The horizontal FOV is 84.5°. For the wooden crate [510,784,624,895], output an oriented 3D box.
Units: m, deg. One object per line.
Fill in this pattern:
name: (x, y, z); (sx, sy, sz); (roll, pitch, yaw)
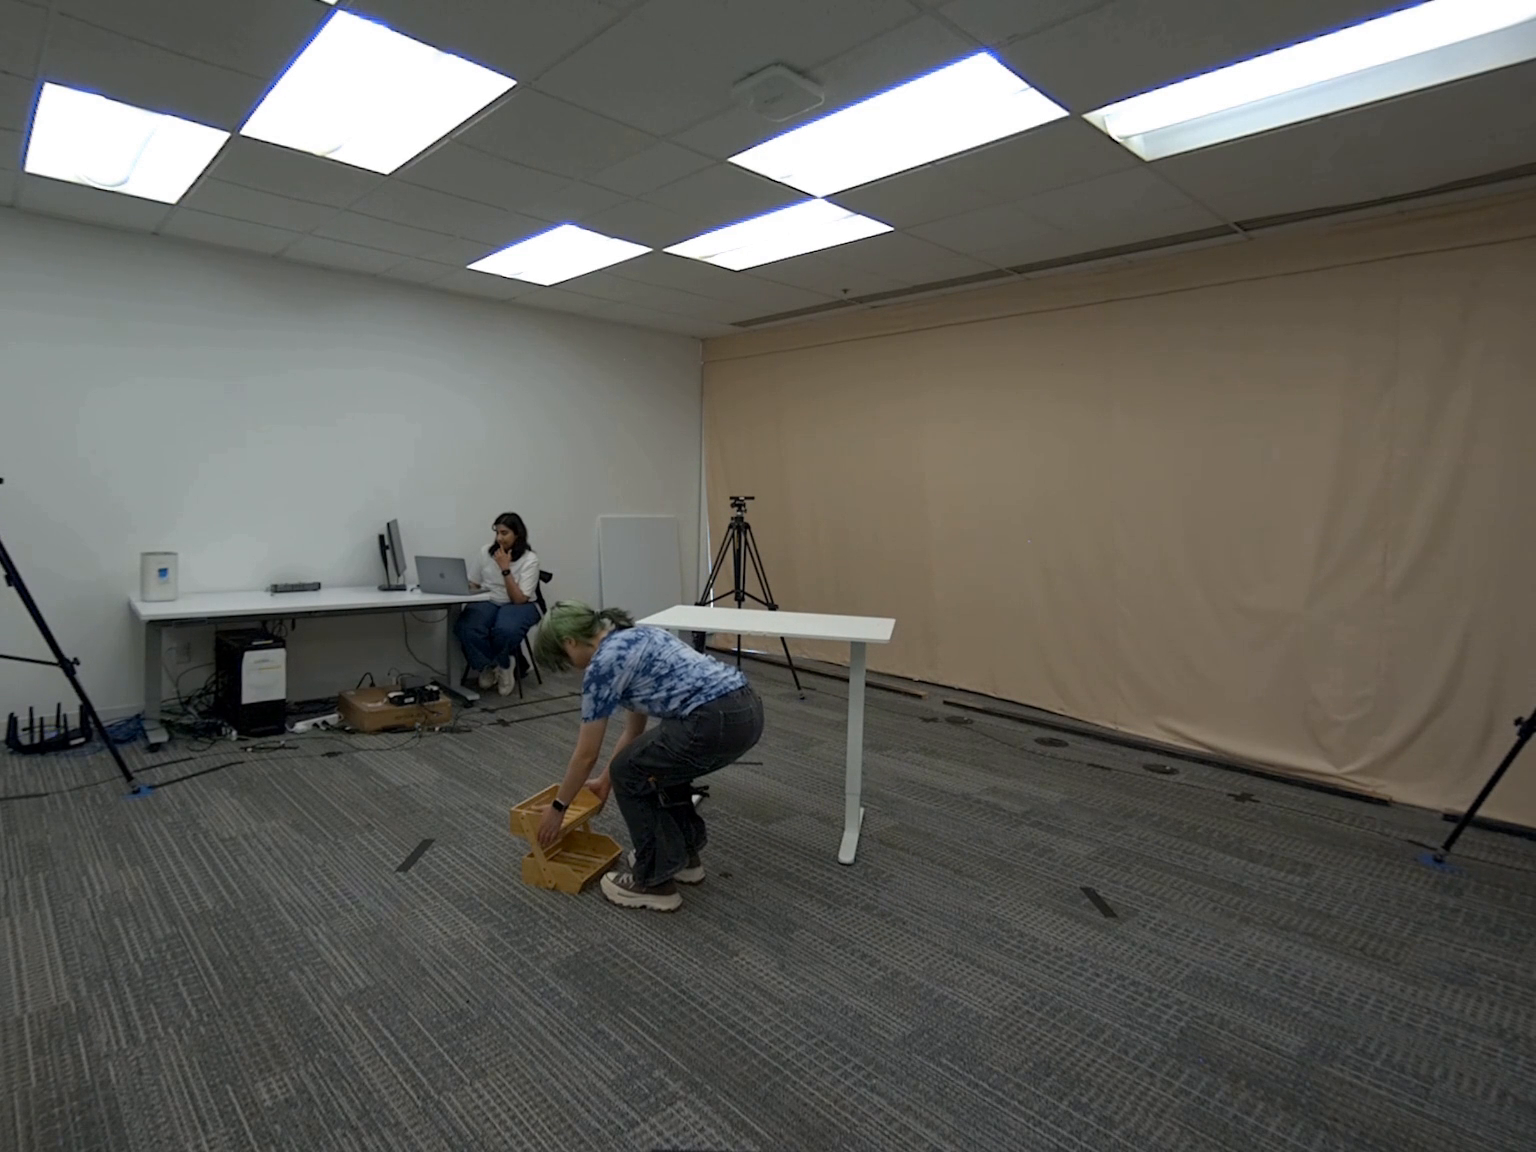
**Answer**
wooden crate: (-0.738, 0.956, 3.108); (0.307, 0.272, 0.320); (2, 5, 19)
